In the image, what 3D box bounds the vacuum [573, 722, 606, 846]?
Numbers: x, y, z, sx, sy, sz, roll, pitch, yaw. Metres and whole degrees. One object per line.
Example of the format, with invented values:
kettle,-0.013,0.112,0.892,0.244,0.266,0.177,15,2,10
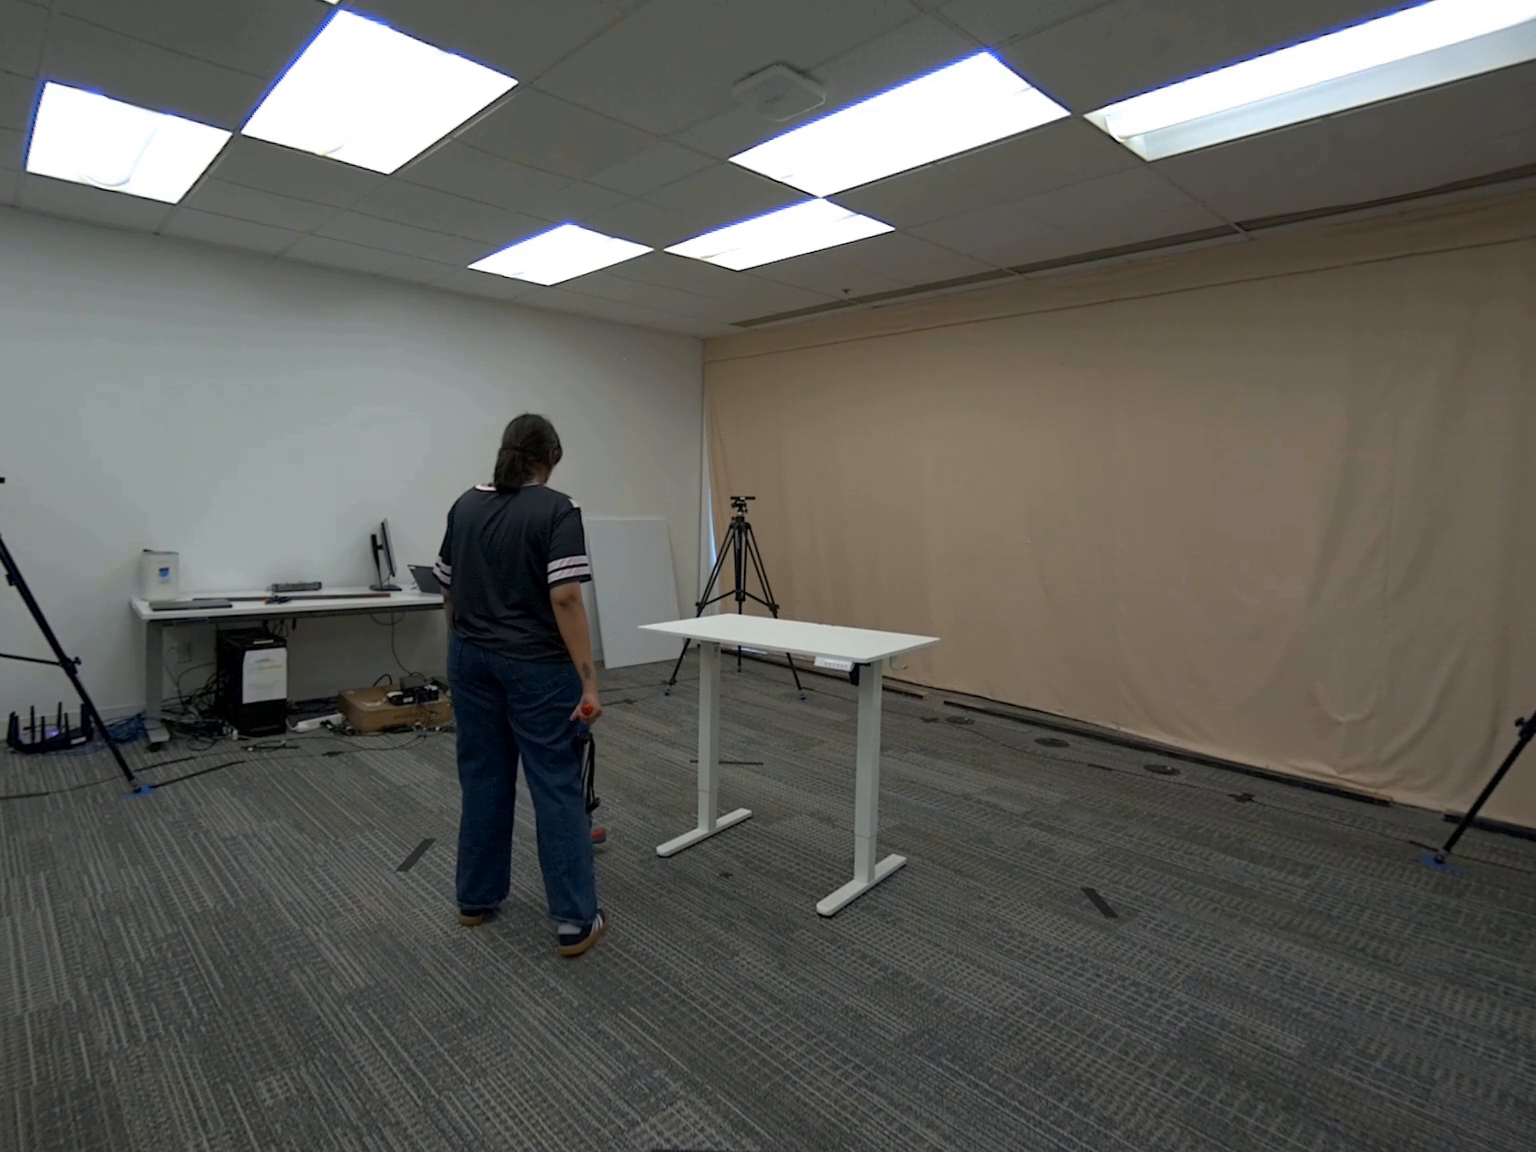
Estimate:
vacuum,-0.639,0.734,2.870,0.249,0.147,1.036,3,-39,-15
